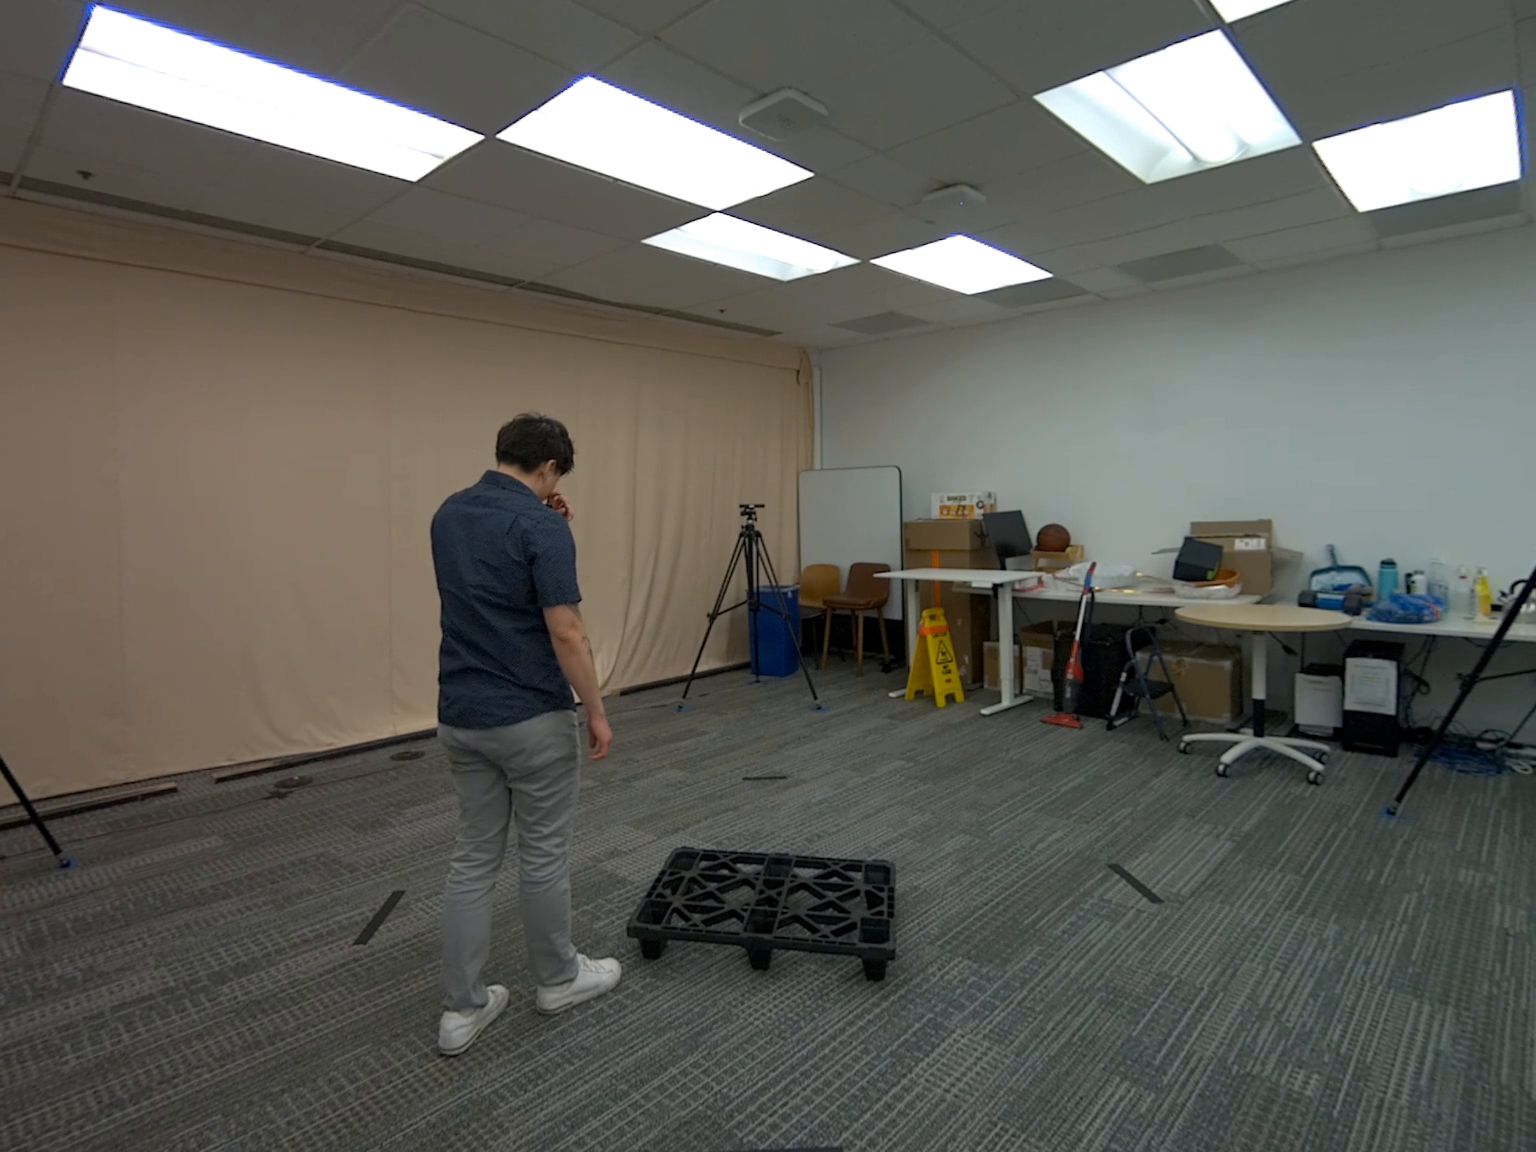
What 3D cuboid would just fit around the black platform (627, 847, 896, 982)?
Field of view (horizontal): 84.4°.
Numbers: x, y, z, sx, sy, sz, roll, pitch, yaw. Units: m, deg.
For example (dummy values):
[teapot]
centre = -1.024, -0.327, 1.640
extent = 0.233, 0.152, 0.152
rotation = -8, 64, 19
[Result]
[black platform]
centre = 0.010, 1.092, 2.749
extent = 0.816, 0.143, 0.599
rotation = 0, 5, 10
